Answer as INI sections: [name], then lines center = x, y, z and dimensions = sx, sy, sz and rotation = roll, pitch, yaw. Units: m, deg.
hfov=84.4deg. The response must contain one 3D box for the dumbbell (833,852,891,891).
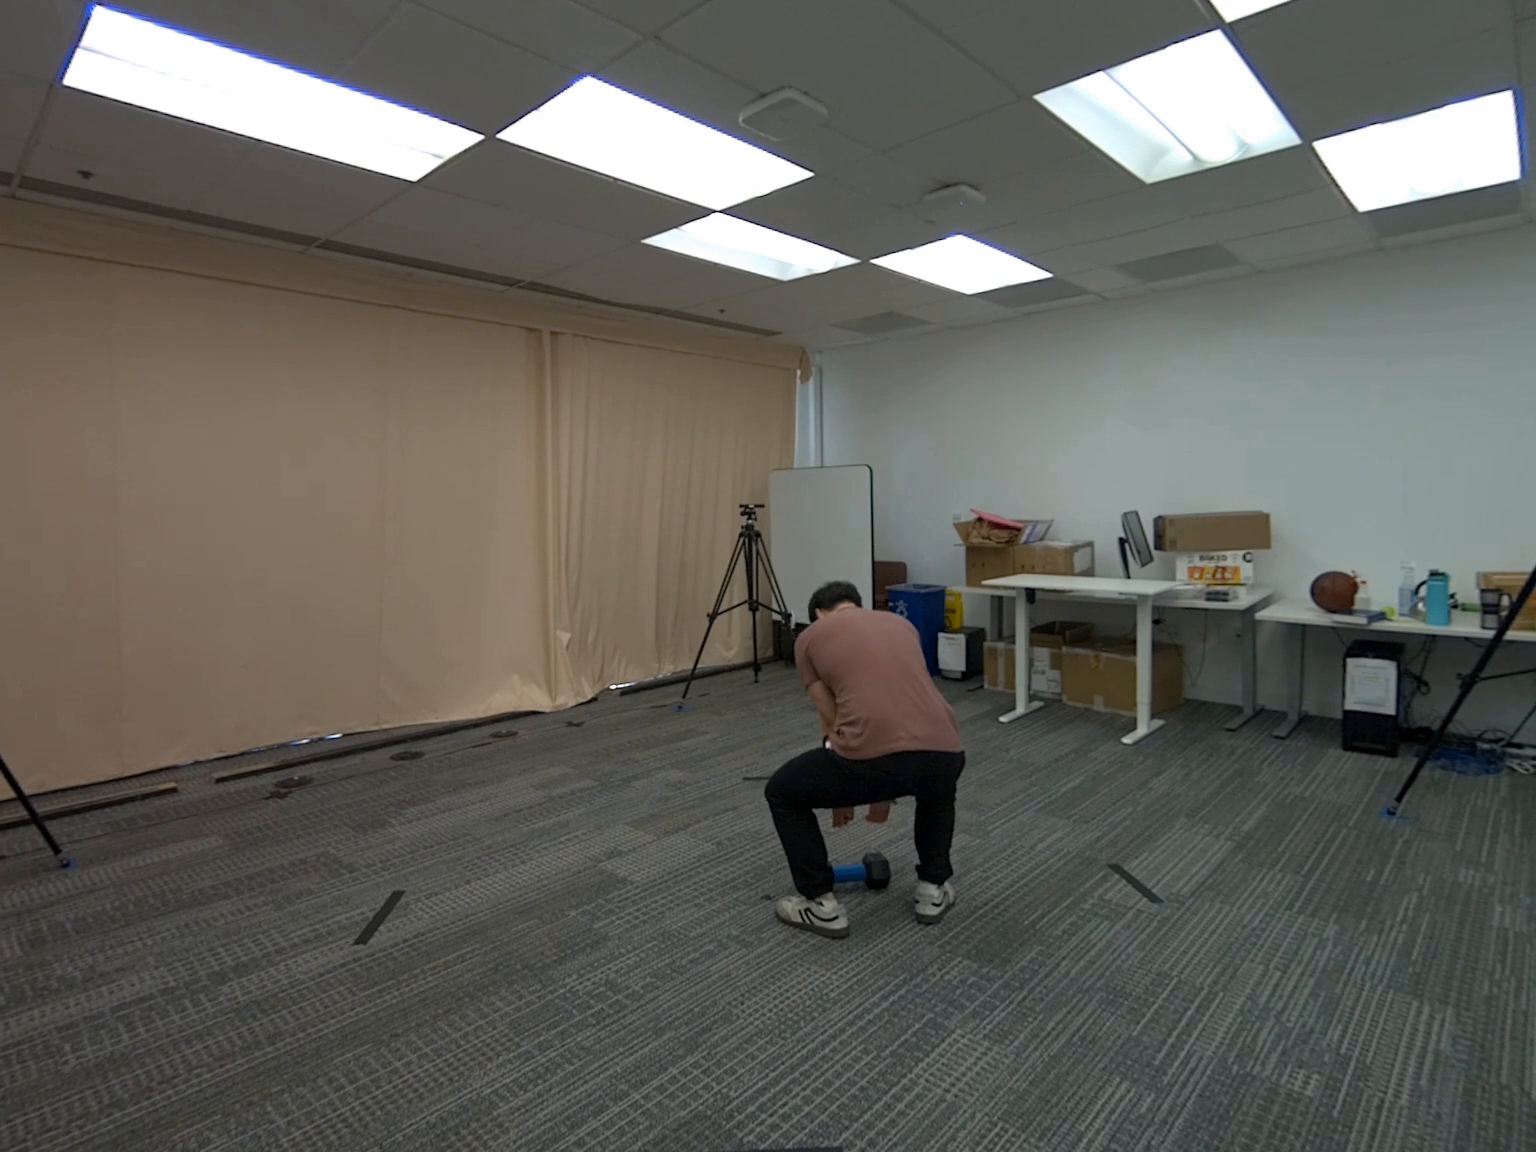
[dumbbell]
center = 0.292, 1.076, 3.042
dimensions = 0.291, 0.121, 0.111
rotation = -3, 35, -9
